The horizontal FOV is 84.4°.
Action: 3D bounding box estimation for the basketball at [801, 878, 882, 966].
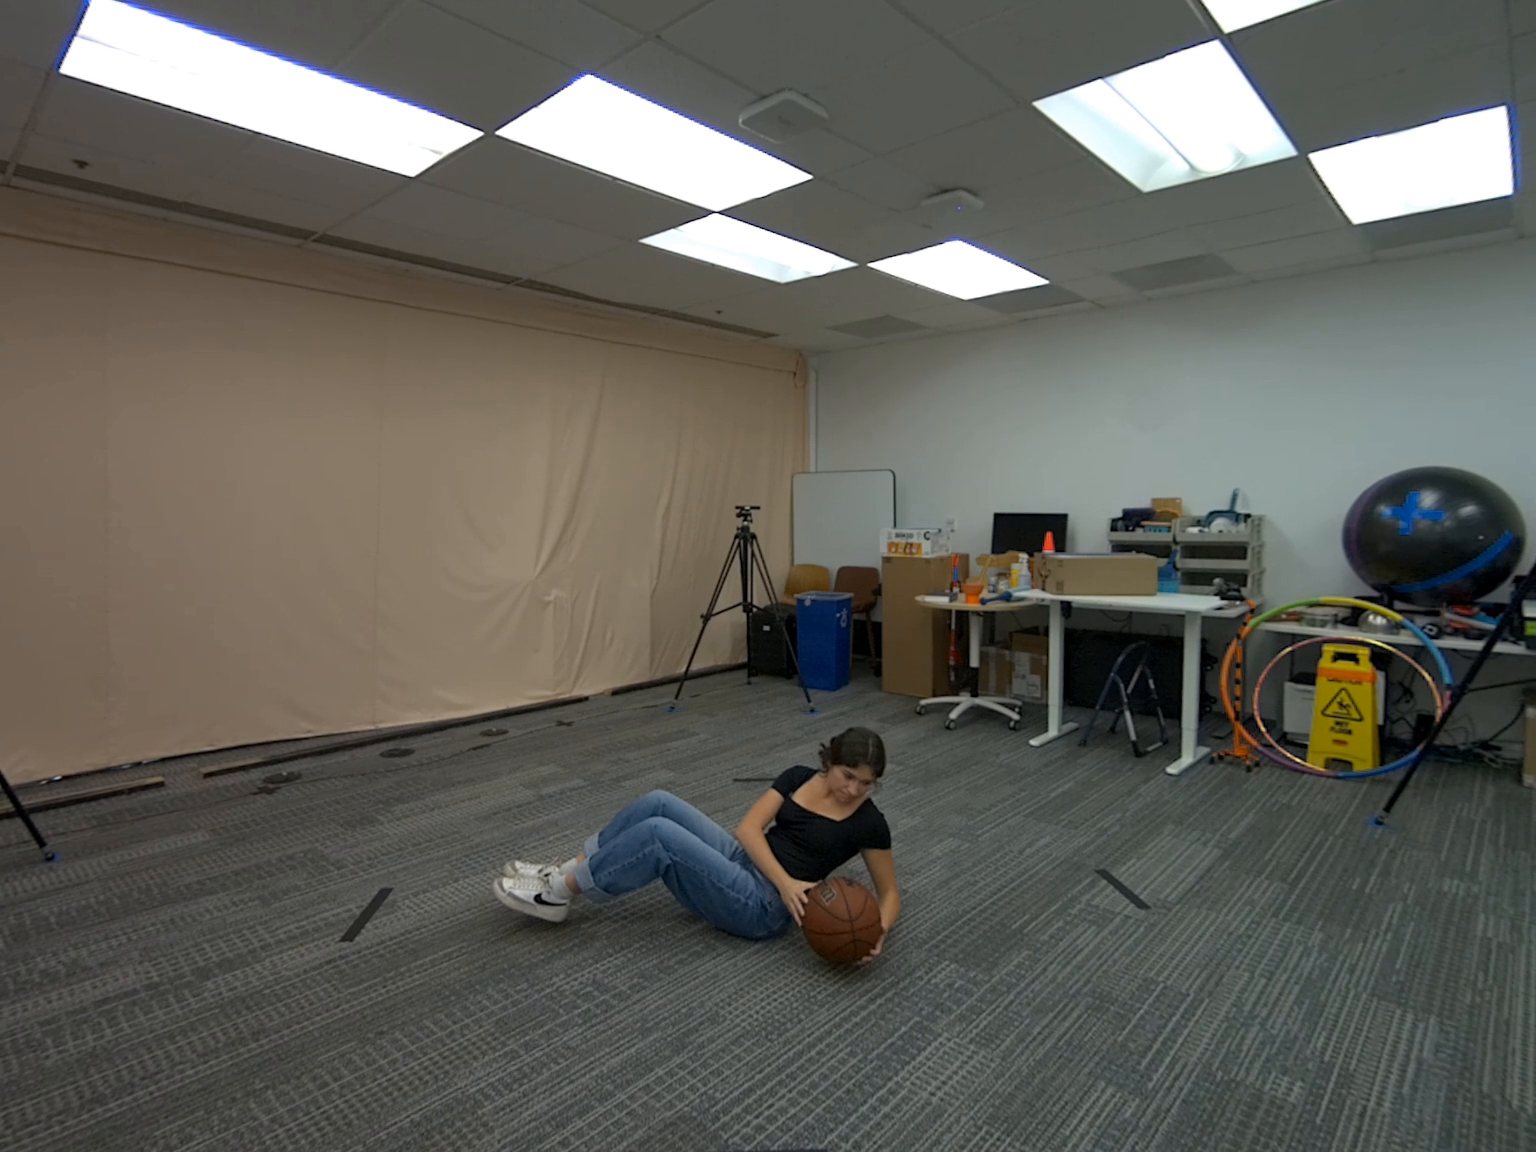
[{"bbox_3d":[0.210,1.010,2.522,0.236,0.235,0.237,0,4,-2],"label":"basketball"}]
